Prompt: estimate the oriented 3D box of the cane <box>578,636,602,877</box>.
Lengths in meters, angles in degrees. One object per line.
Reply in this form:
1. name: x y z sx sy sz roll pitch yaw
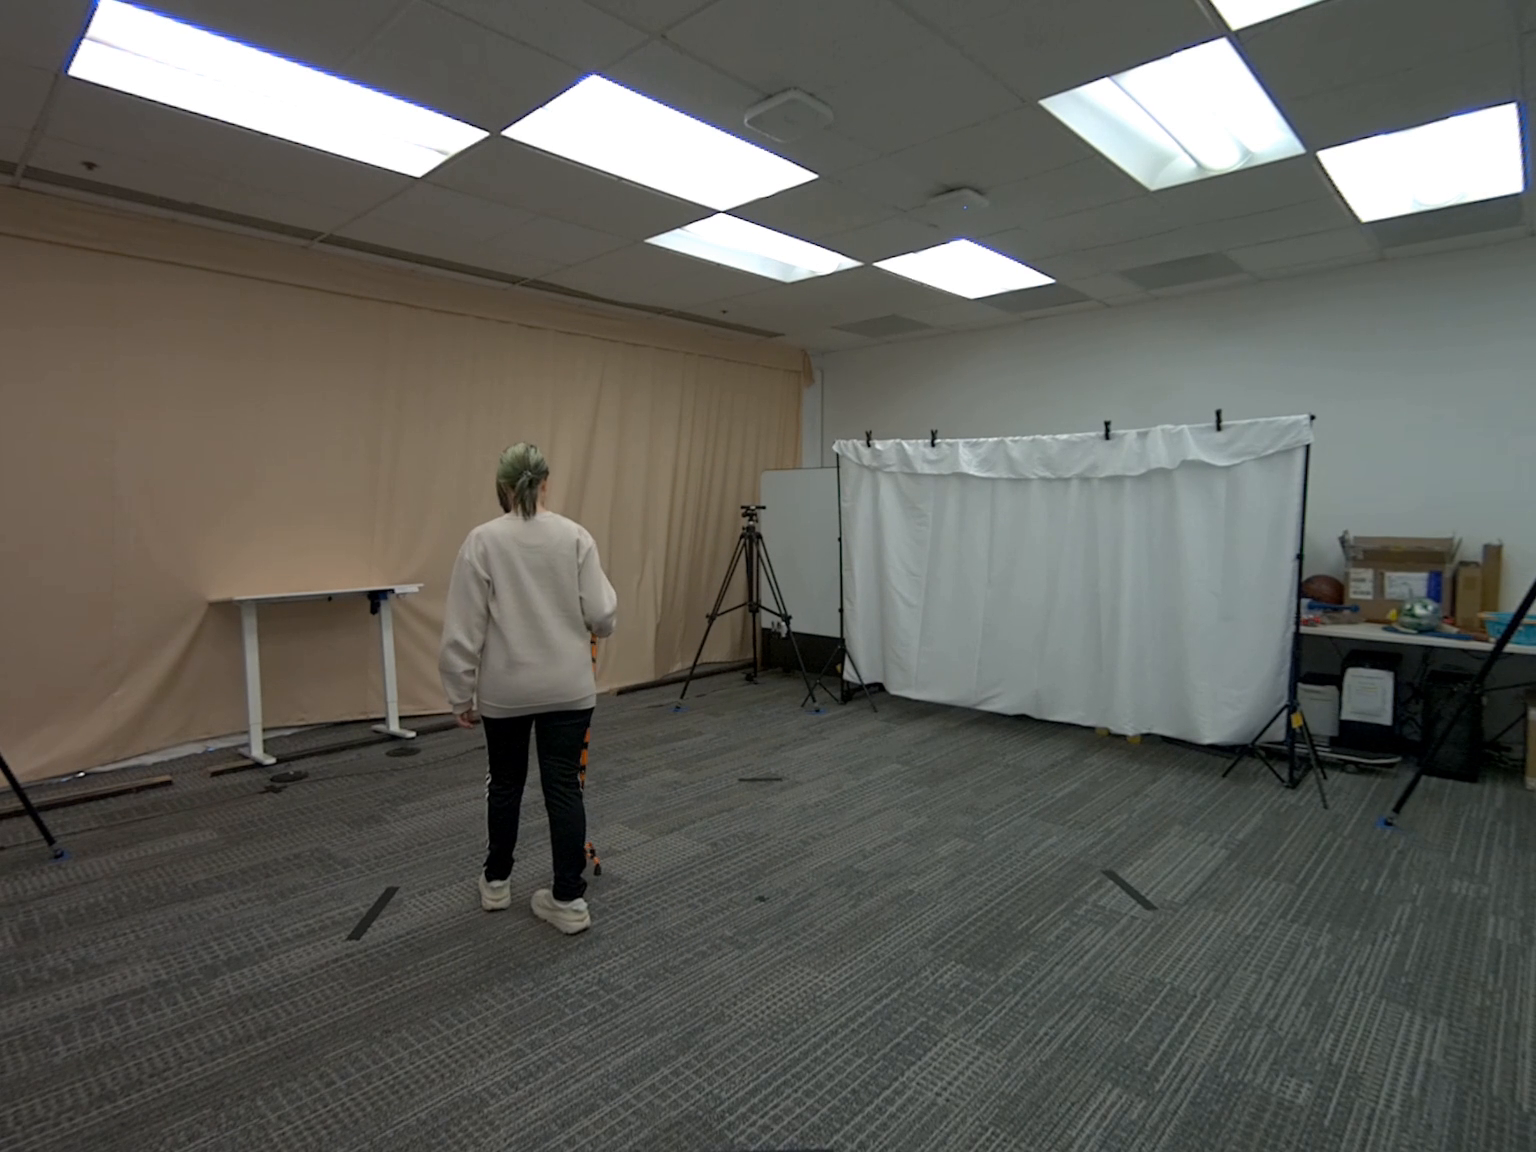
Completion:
1. cane: -0.669 0.638 3.163 0.148 0.908 0.211 5 -1 -22
